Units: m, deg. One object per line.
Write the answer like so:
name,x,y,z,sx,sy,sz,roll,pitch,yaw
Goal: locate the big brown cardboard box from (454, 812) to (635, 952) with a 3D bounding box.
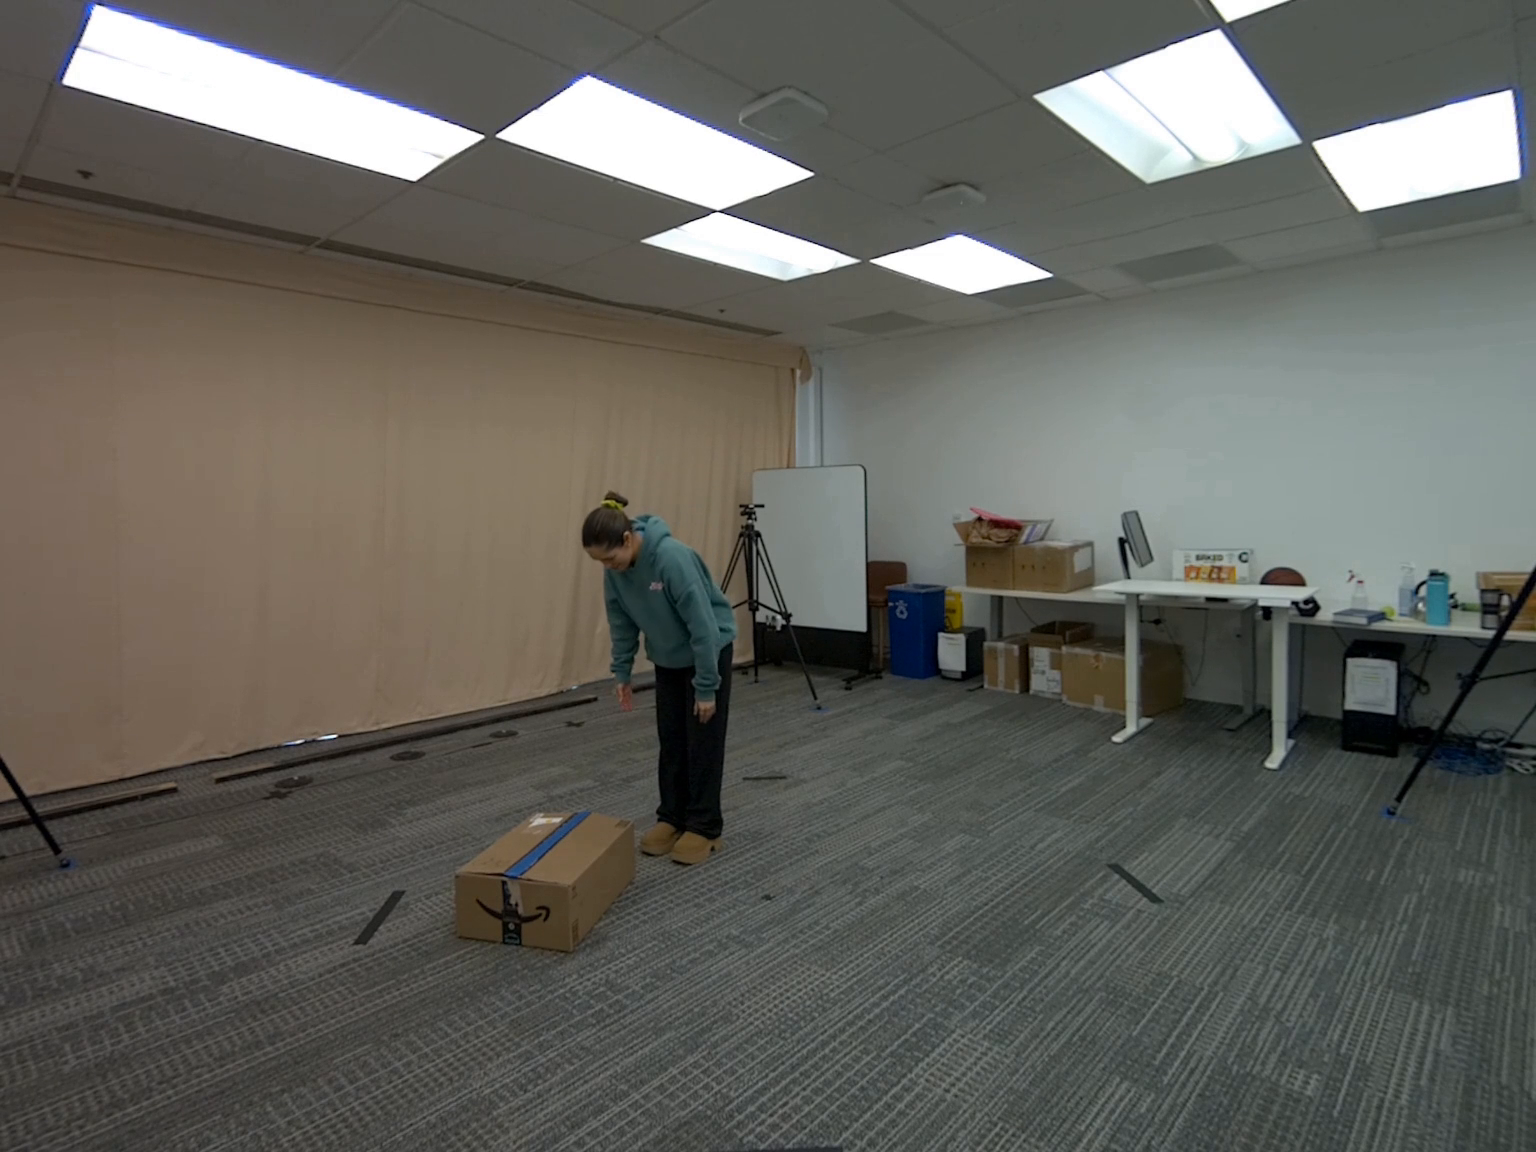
big brown cardboard box,-0.758,1.043,2.960,0.424,0.232,0.582,0,5,13
